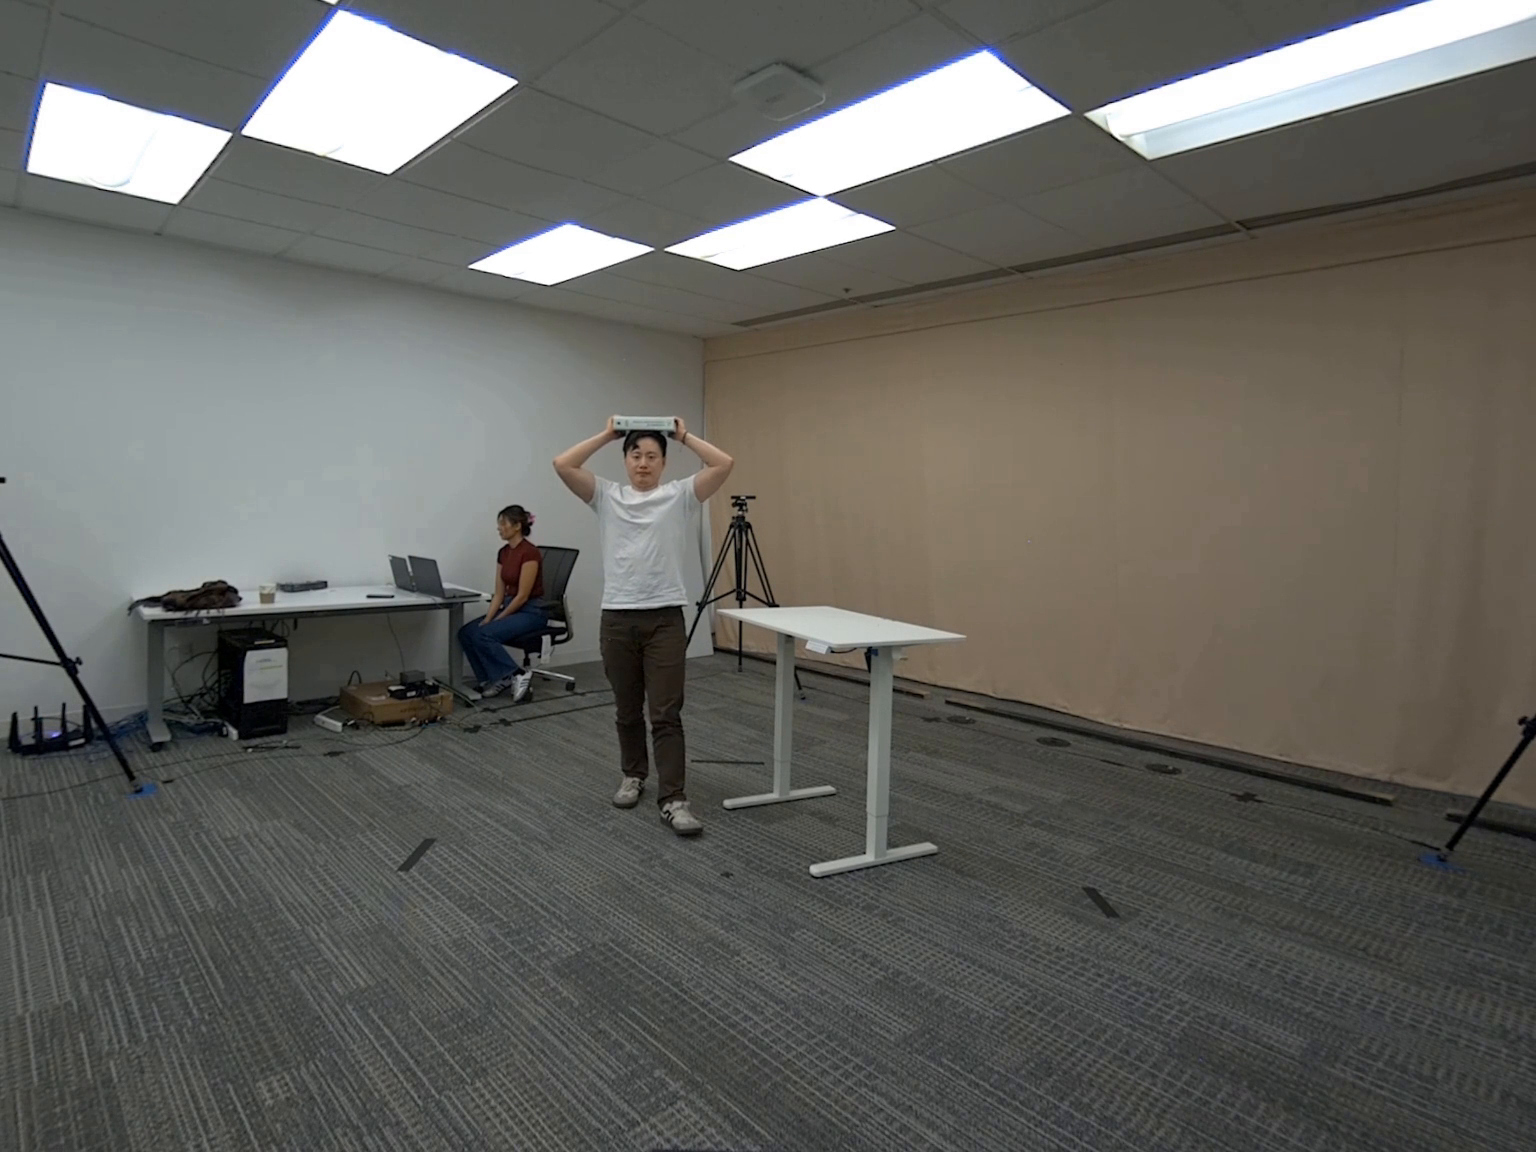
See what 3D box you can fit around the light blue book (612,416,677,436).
[{"bbox_3d":[-0.555,-0.665,3.701,0.260,0.059,0.191,0,-1,-2],"label":"light blue book"}]
